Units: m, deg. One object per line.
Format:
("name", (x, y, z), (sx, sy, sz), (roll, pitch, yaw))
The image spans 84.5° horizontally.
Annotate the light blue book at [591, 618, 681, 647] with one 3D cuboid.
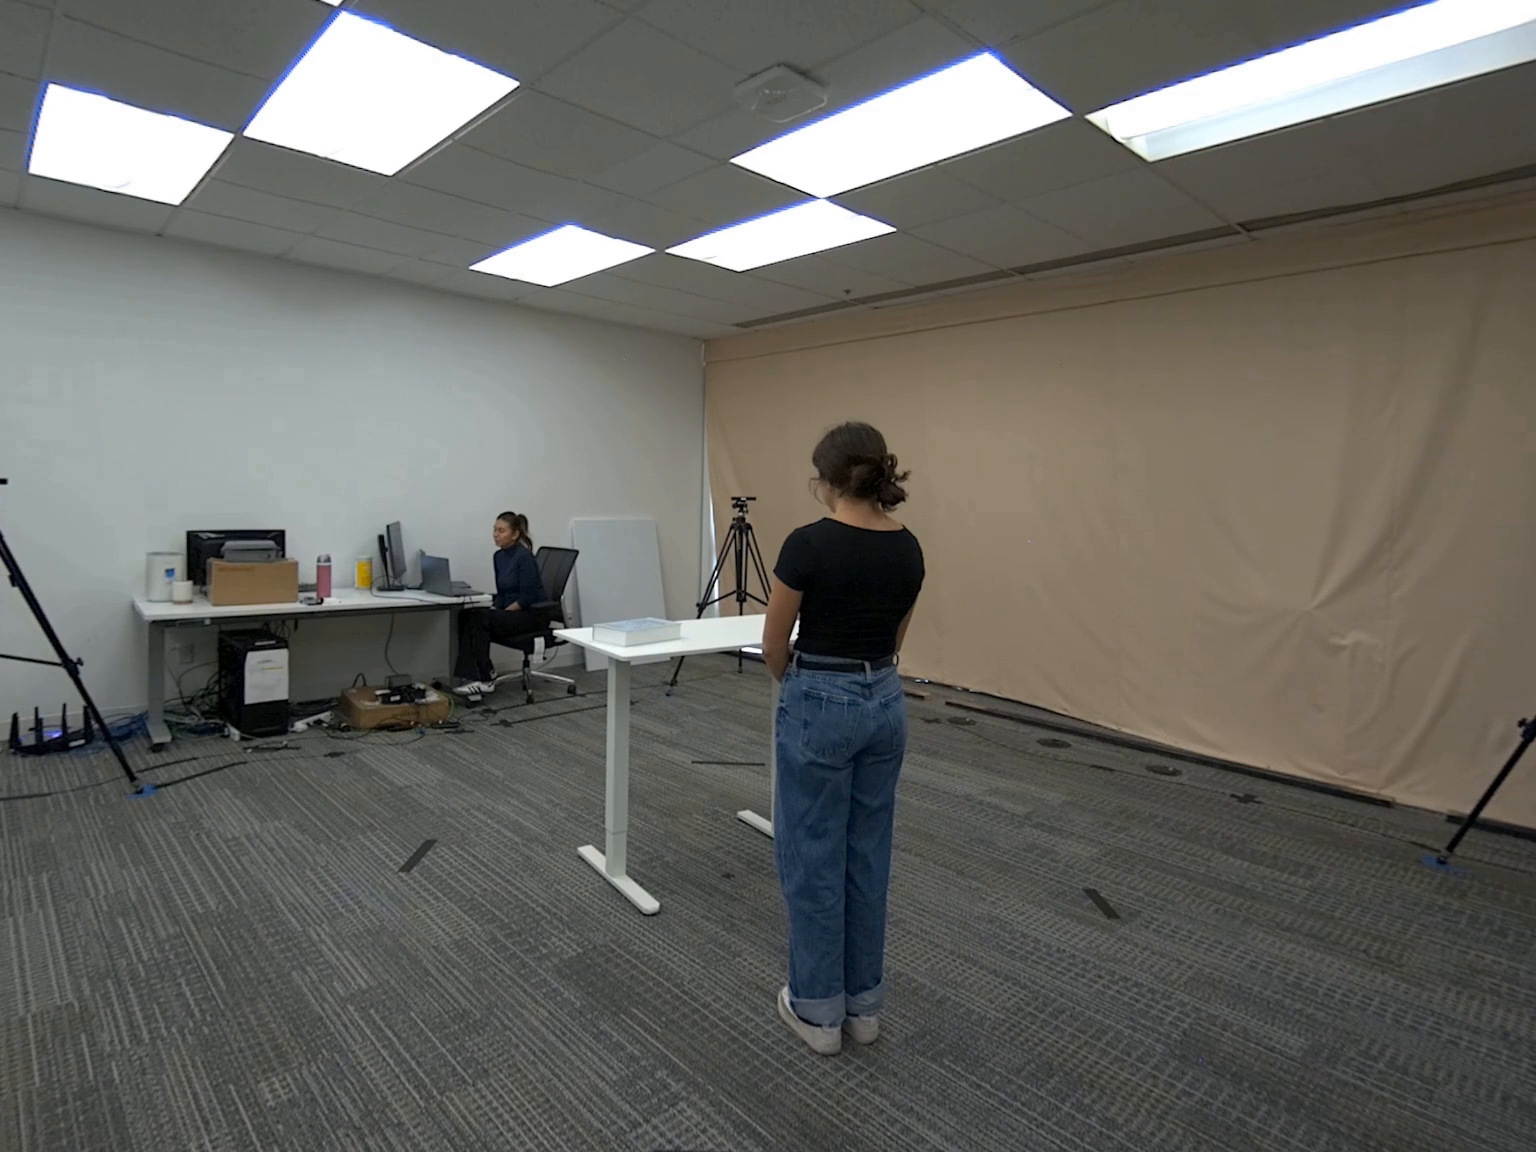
("light blue book", (-0.475, 0.200, 3.006), (0.196, 0.059, 0.255), (5, 7, 42))
